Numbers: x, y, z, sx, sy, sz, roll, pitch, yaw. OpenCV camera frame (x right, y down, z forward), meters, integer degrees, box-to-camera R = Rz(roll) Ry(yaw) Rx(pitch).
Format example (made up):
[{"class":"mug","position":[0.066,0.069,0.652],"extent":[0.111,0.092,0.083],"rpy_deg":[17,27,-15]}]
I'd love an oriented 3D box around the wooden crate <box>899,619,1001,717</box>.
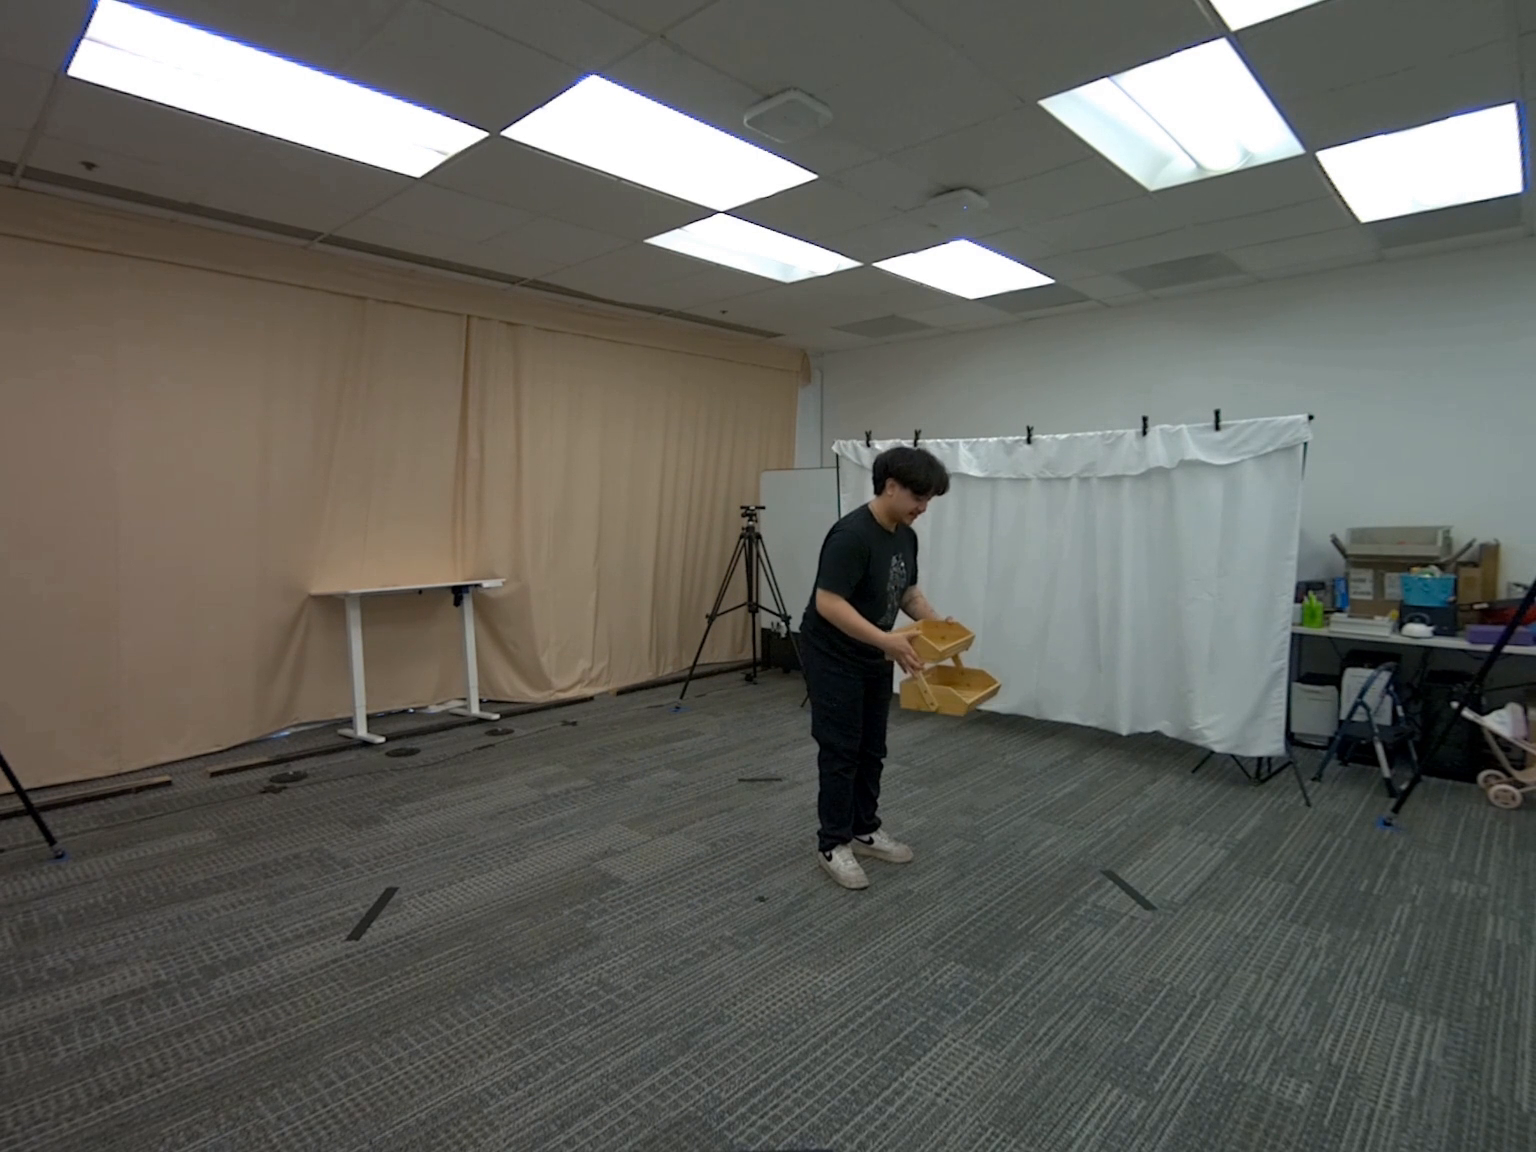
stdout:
[{"class":"wooden crate","position":[0.636,0.318,3.001],"extent":[0.311,0.272,0.315],"rpy_deg":[0,6,37]}]
